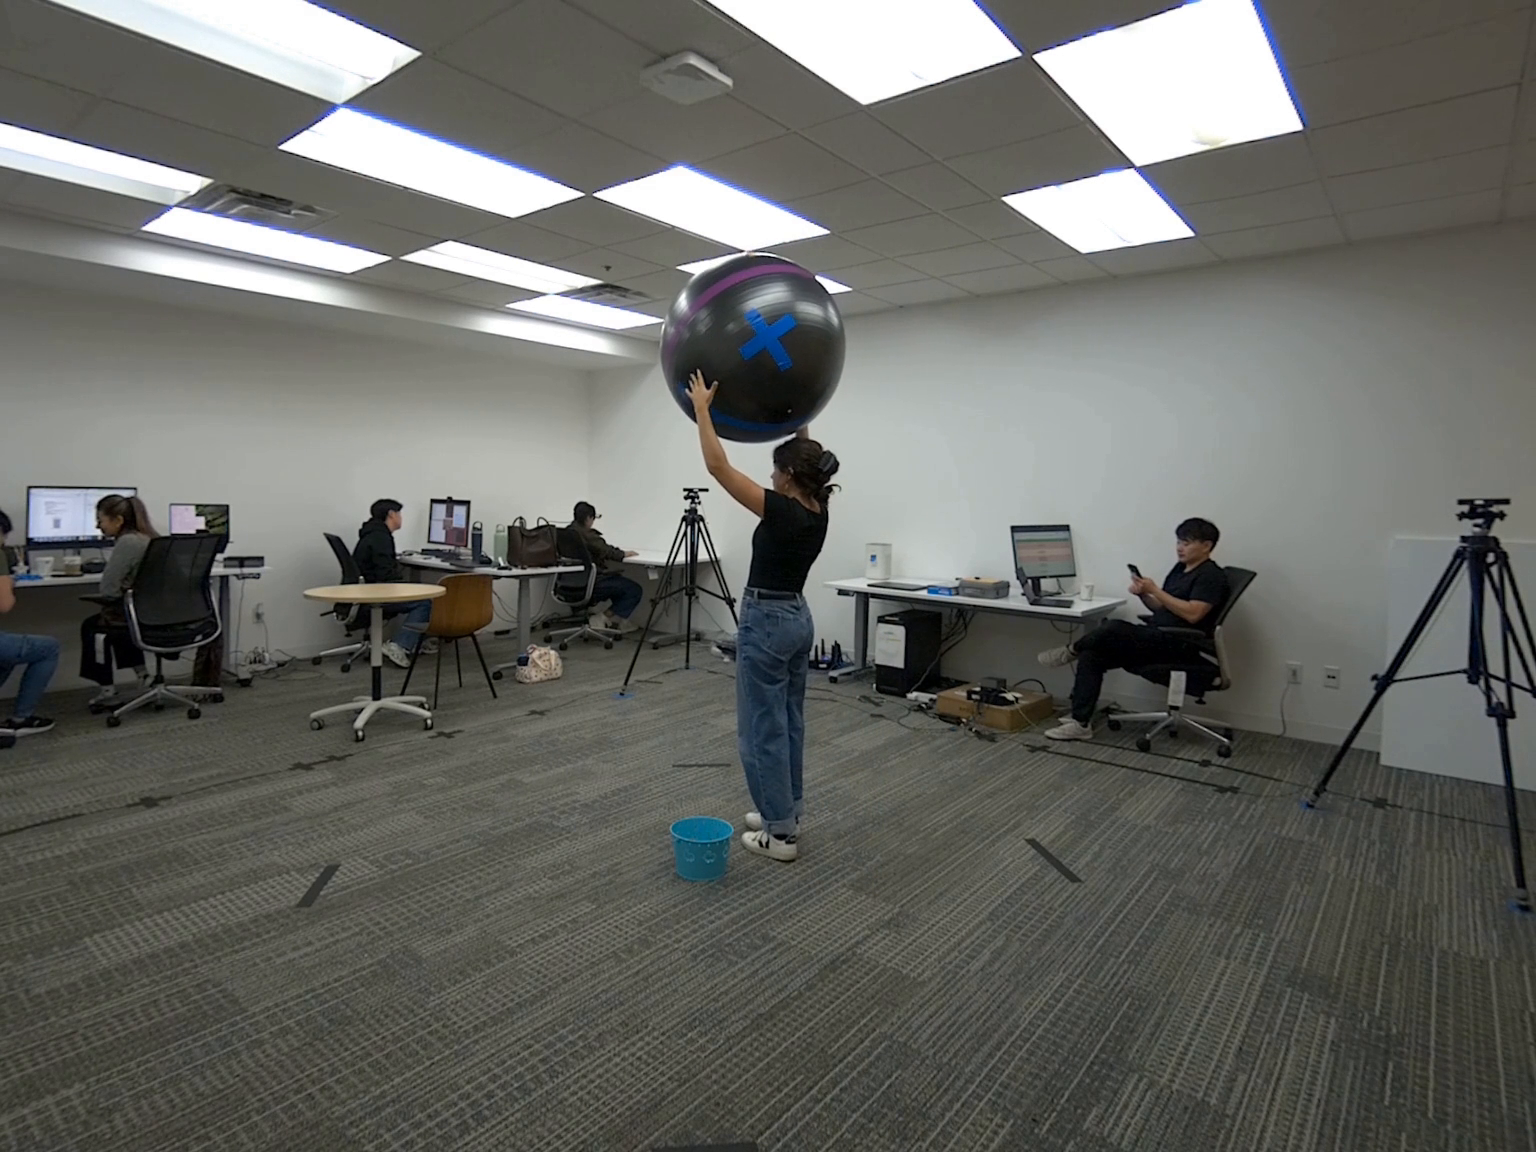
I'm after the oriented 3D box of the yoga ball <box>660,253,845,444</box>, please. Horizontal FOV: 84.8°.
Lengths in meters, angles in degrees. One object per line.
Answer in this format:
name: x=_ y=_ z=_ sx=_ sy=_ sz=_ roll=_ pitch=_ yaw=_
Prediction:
yoga ball: x=-0.075 y=-0.926 z=3.480 sx=0.757 sy=0.756 sz=0.762 roll=1 pitch=4 yaw=-2
